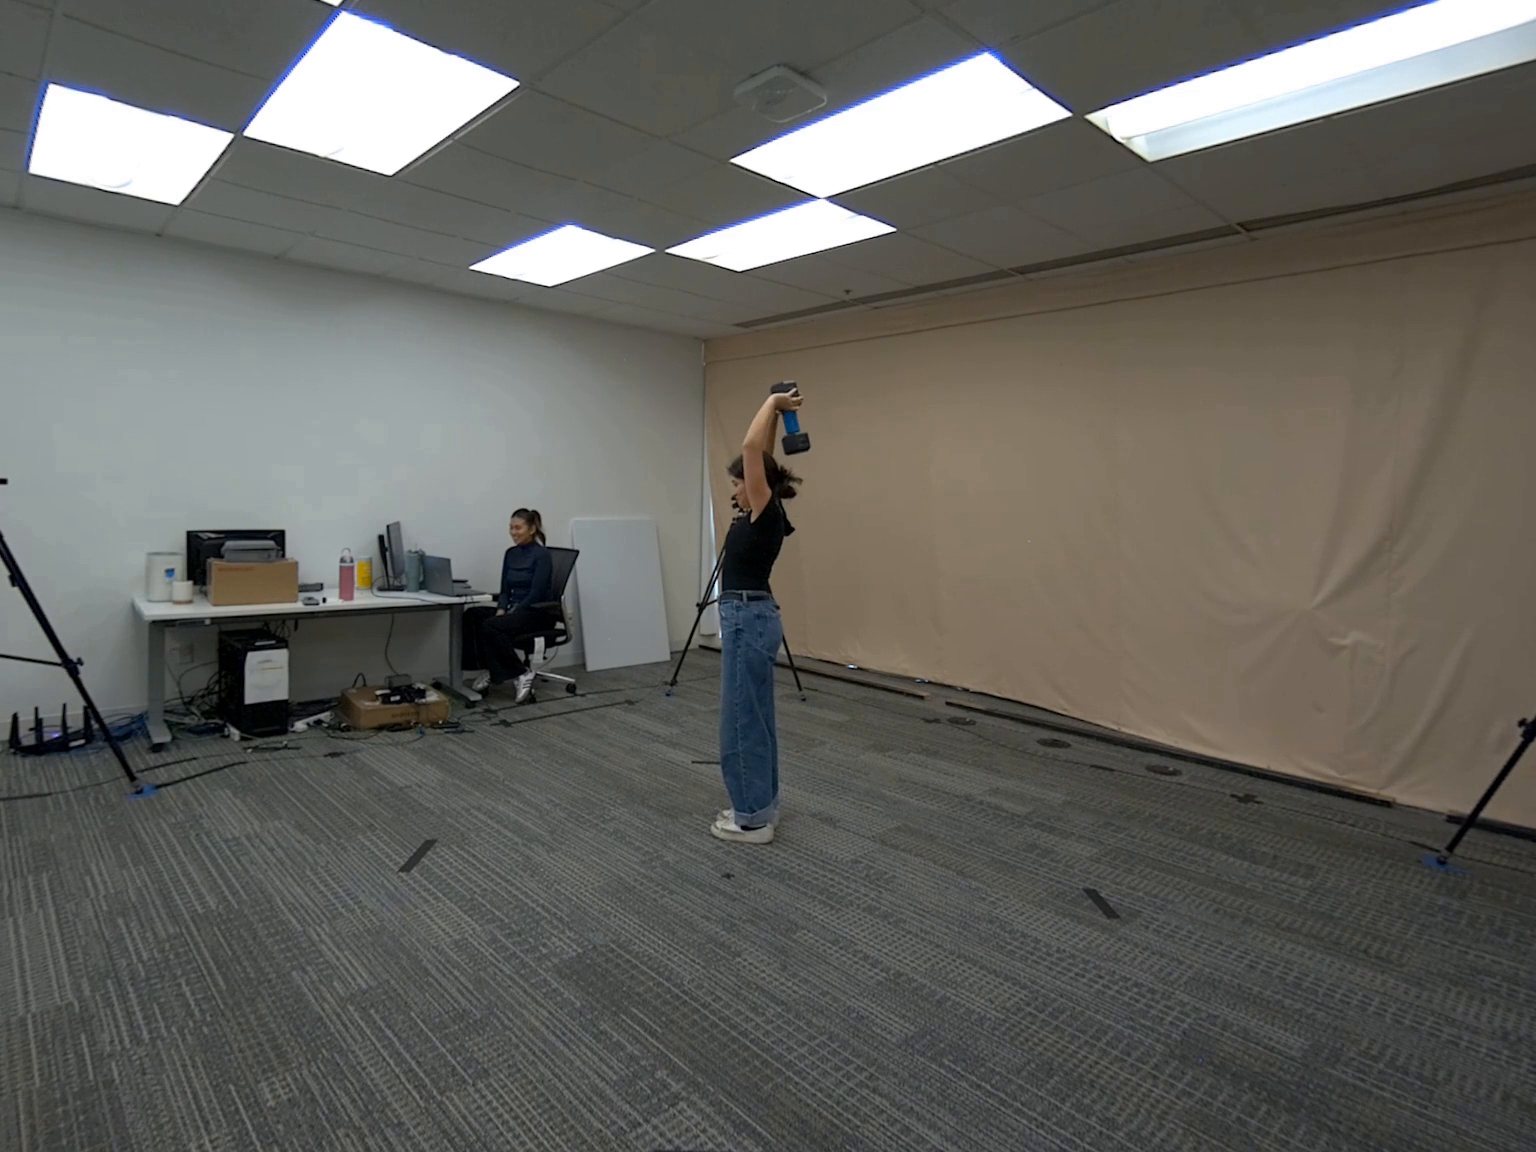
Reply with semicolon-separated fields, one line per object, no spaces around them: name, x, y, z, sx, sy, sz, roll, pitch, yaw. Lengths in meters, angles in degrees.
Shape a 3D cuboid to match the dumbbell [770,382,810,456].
dumbbell;0.088;-0.645;3.455;0.125;0.294;0.107;-15;-2;33
